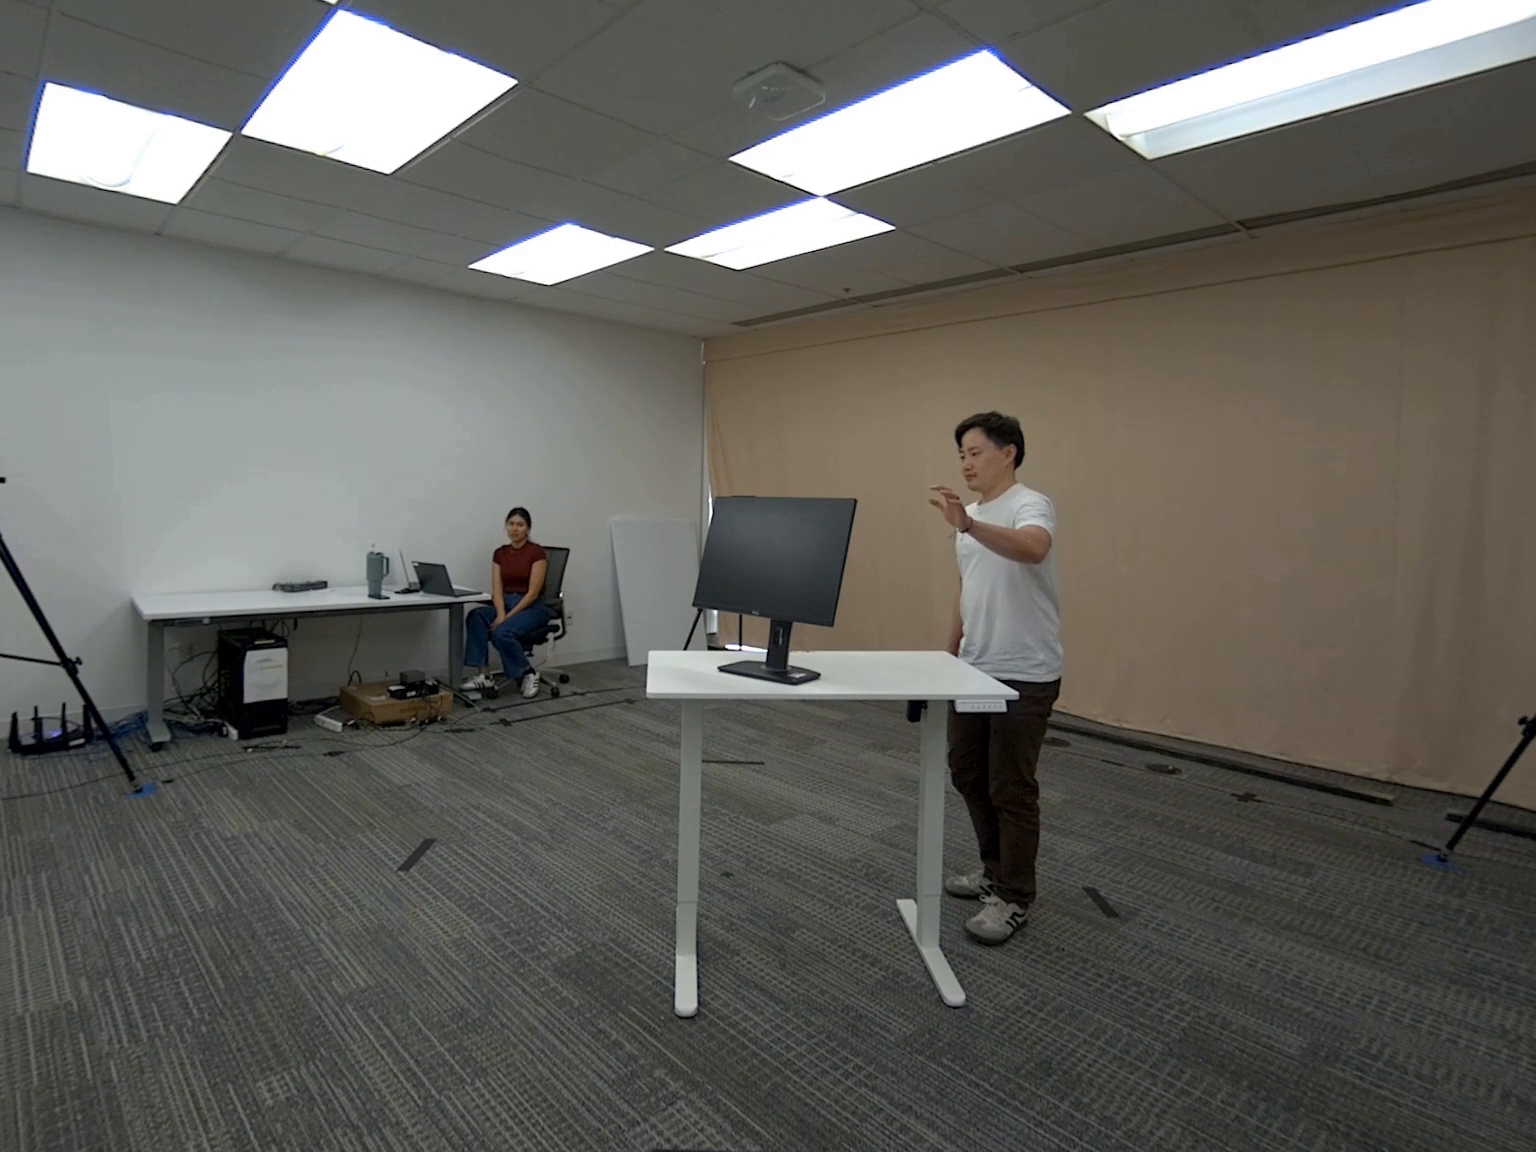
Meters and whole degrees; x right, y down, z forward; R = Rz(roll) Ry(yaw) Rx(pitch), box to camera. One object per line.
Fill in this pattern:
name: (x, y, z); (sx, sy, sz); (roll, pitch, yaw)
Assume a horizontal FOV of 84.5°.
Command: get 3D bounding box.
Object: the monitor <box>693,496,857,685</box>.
monitor: (0.017, 0.037, 2.434); (0.553, 0.522, 0.182); (5, 3, 42)
